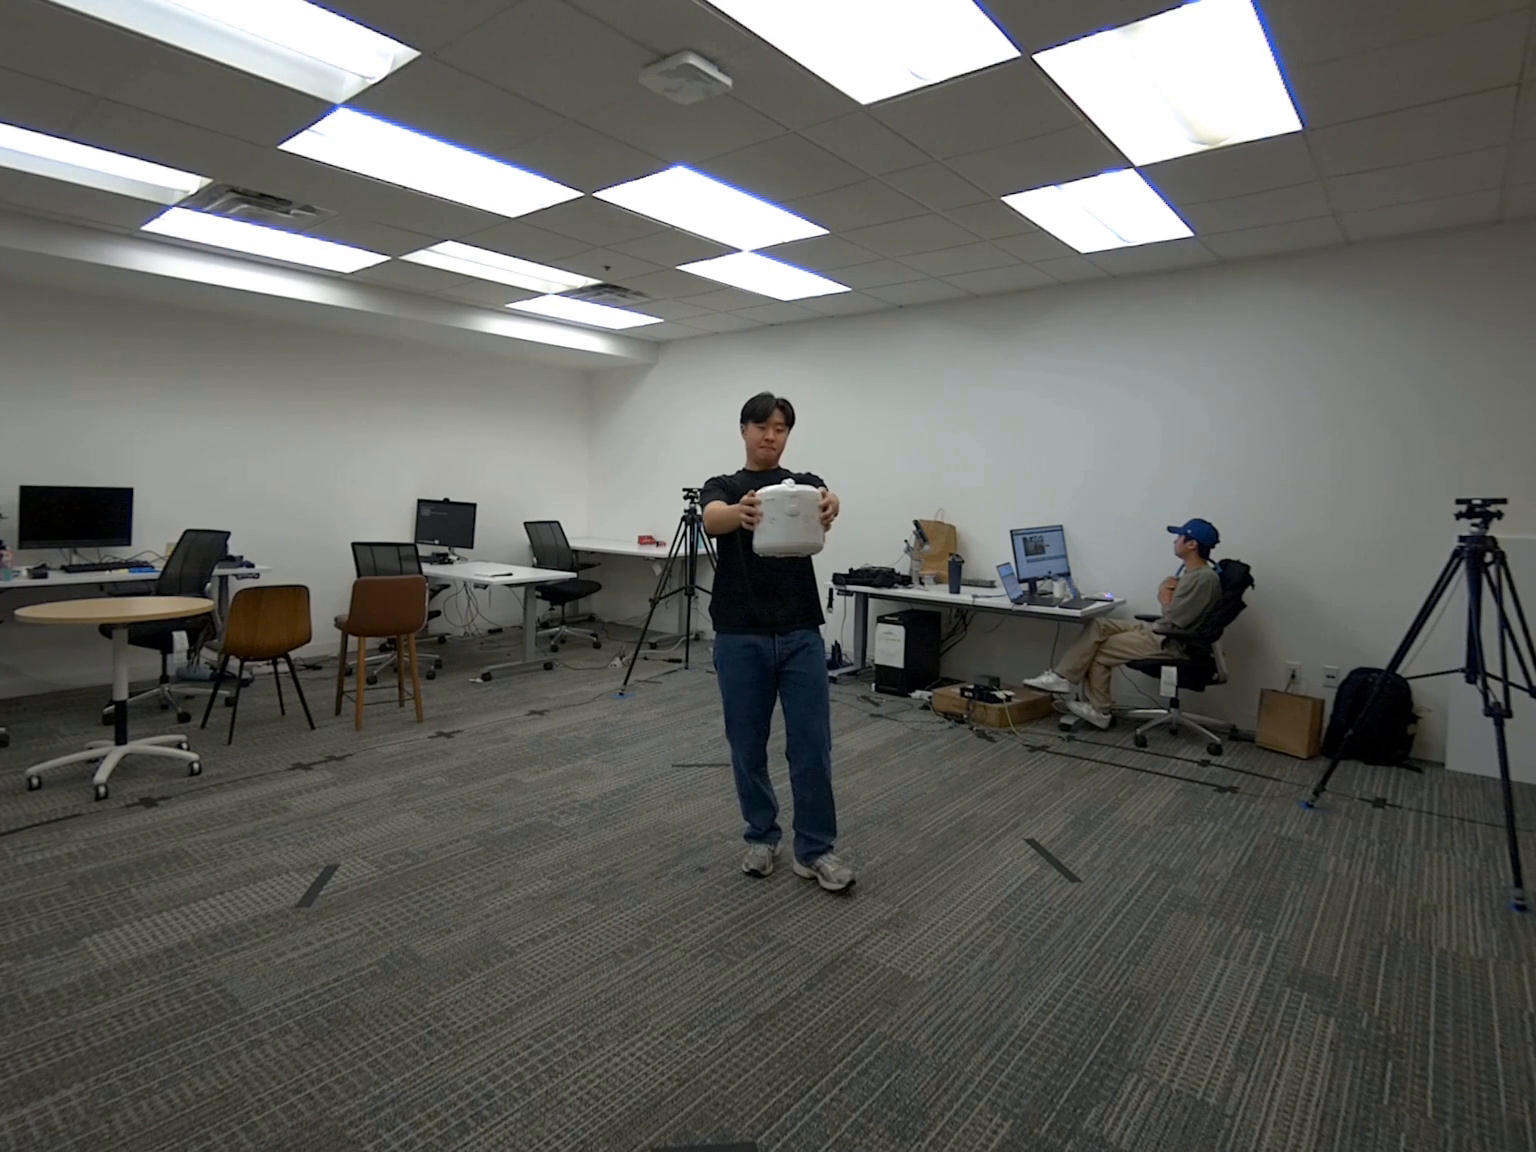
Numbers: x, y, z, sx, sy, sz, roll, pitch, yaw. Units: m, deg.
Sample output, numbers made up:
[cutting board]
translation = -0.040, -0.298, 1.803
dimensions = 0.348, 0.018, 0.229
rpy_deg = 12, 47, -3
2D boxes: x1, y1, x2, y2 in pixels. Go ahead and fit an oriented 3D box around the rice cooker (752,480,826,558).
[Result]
[rice cooker]
translation = 0.057, -0.187, 2.609
dimensions = 0.217, 0.234, 0.220
rpy_deg = -1, -3, -2
